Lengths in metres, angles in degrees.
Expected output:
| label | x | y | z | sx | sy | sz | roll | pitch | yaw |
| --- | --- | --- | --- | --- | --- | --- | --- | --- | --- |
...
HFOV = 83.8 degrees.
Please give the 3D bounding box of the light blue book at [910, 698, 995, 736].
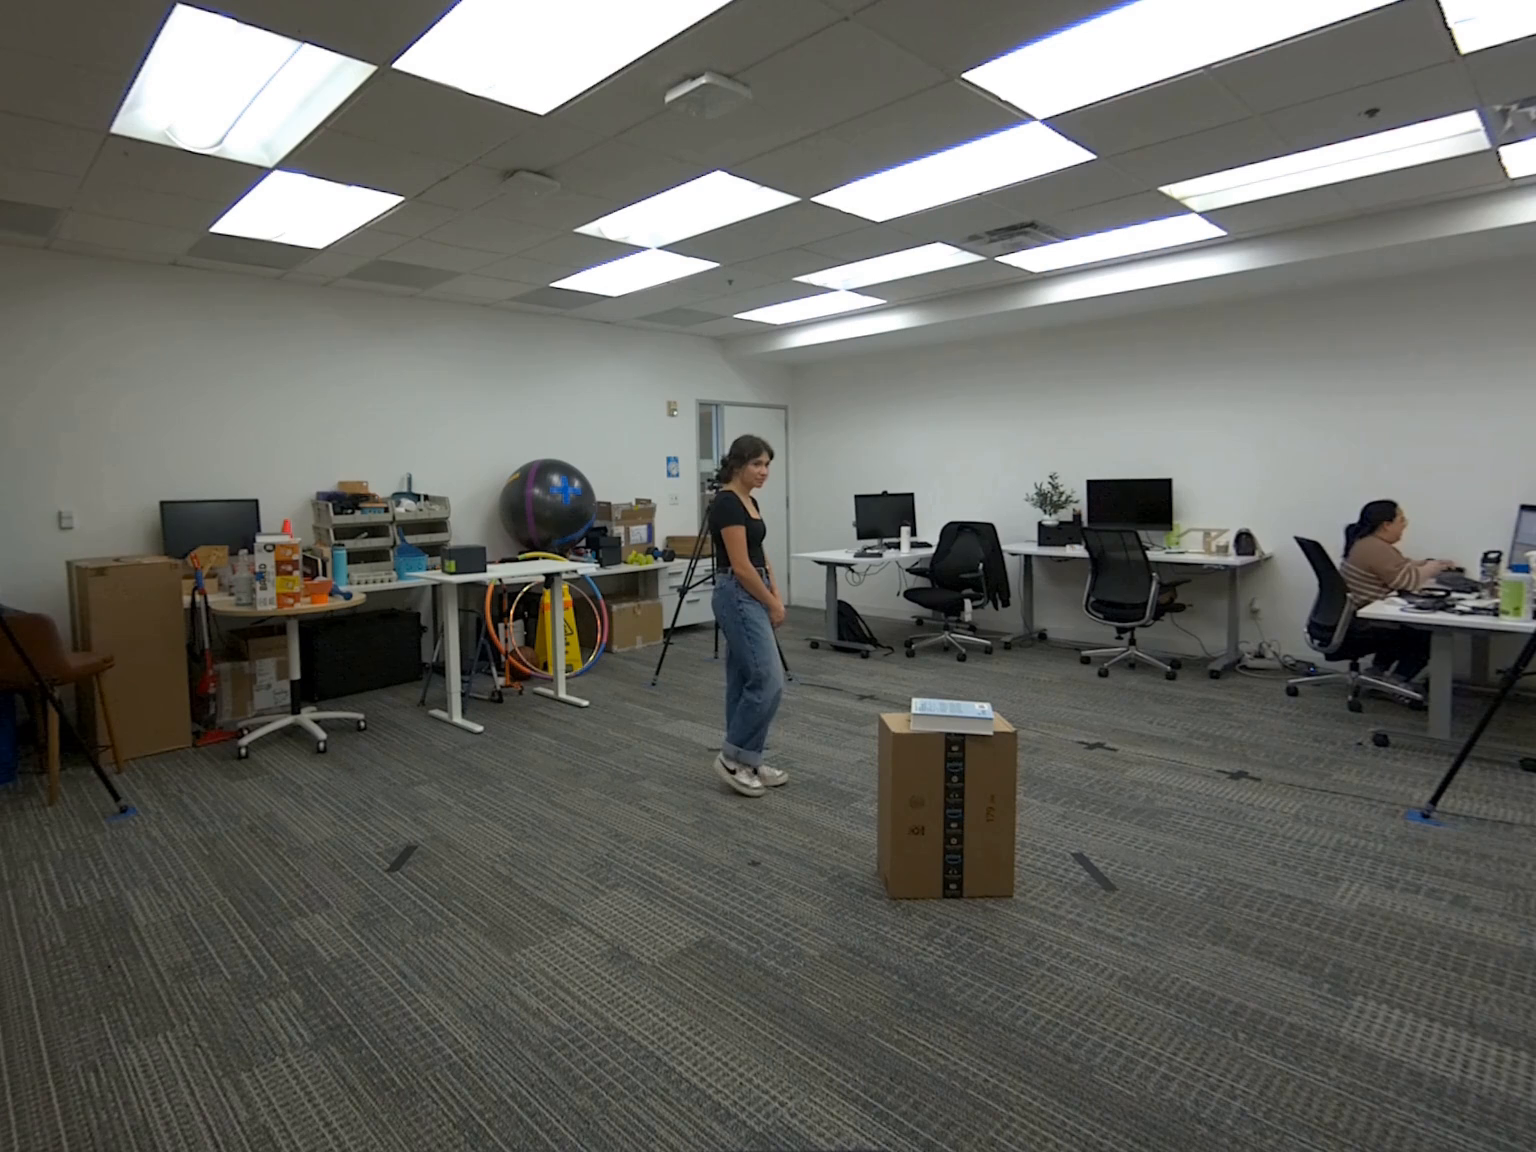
| label | x | y | z | sx | sy | sz | roll | pitch | yaw |
| --- | --- | --- | --- | --- | --- | --- | --- | --- | --- |
| light blue book | 0.627 | 0.475 | 2.871 | 0.264 | 0.059 | 0.190 | 1 | 7 | 12 |
